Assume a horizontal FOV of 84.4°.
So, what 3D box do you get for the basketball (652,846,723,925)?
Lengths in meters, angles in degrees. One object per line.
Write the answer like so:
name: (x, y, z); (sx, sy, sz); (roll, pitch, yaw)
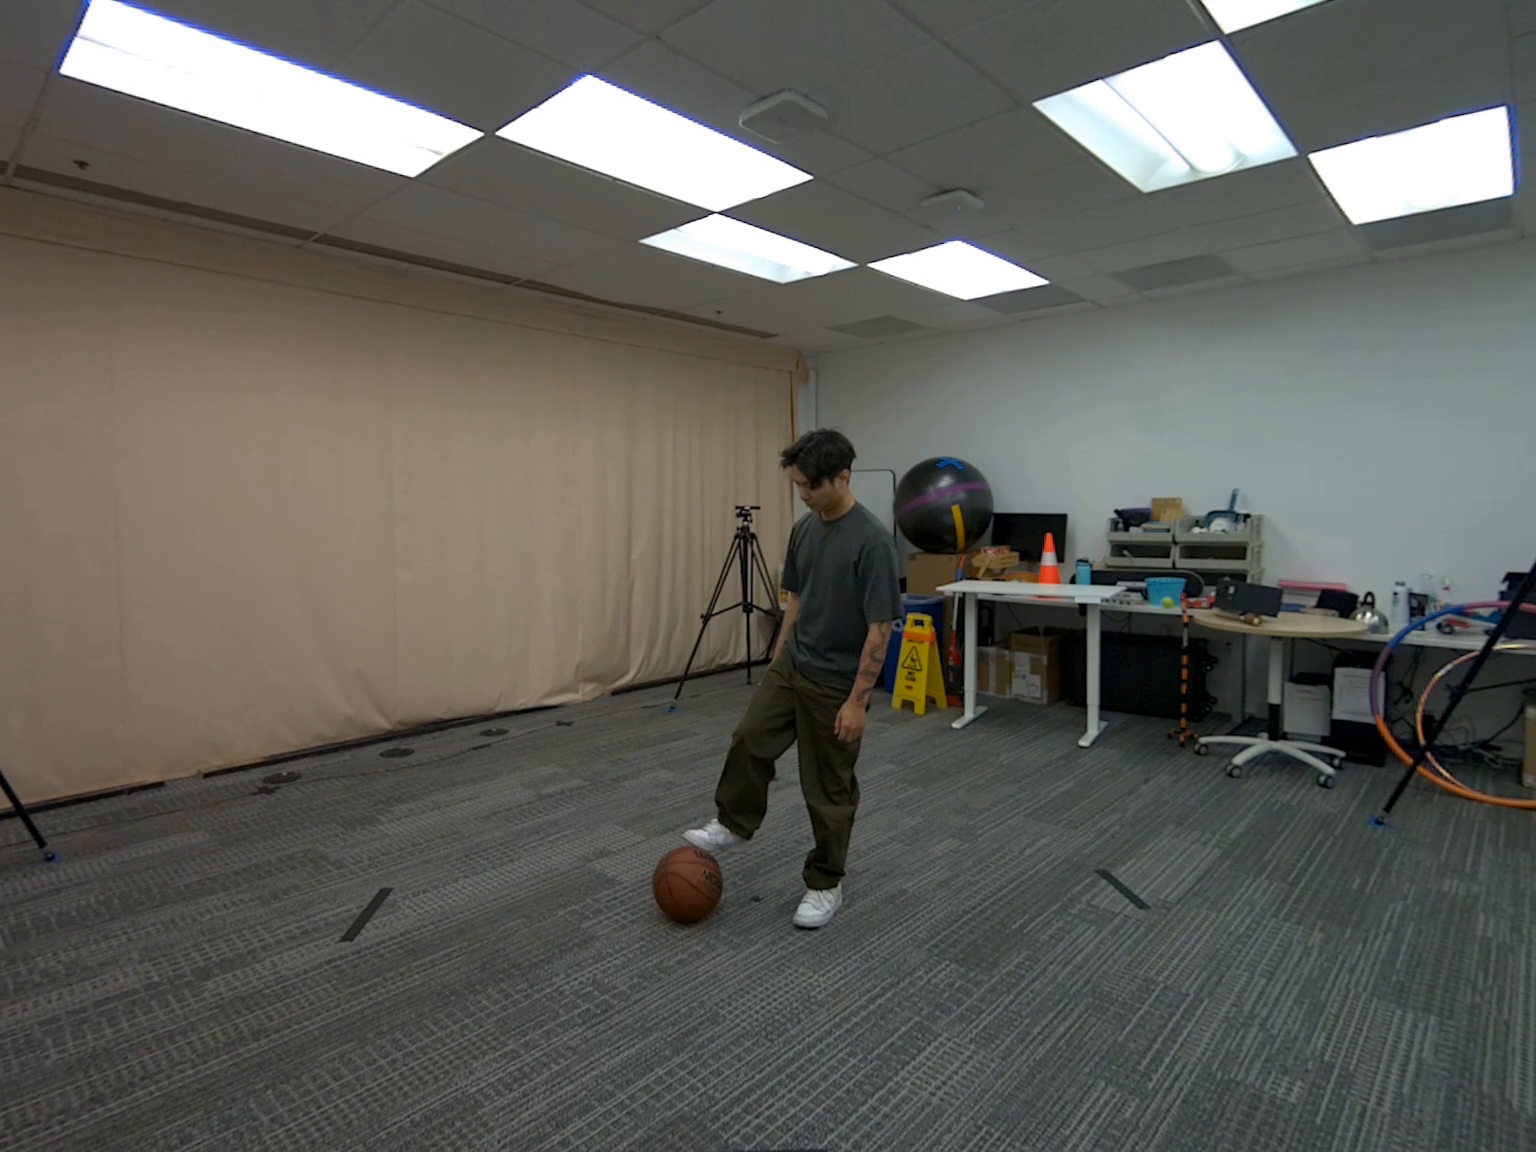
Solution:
basketball: (-0.273, 1.043, 2.846); (0.236, 0.235, 0.237); (0, 4, -2)
